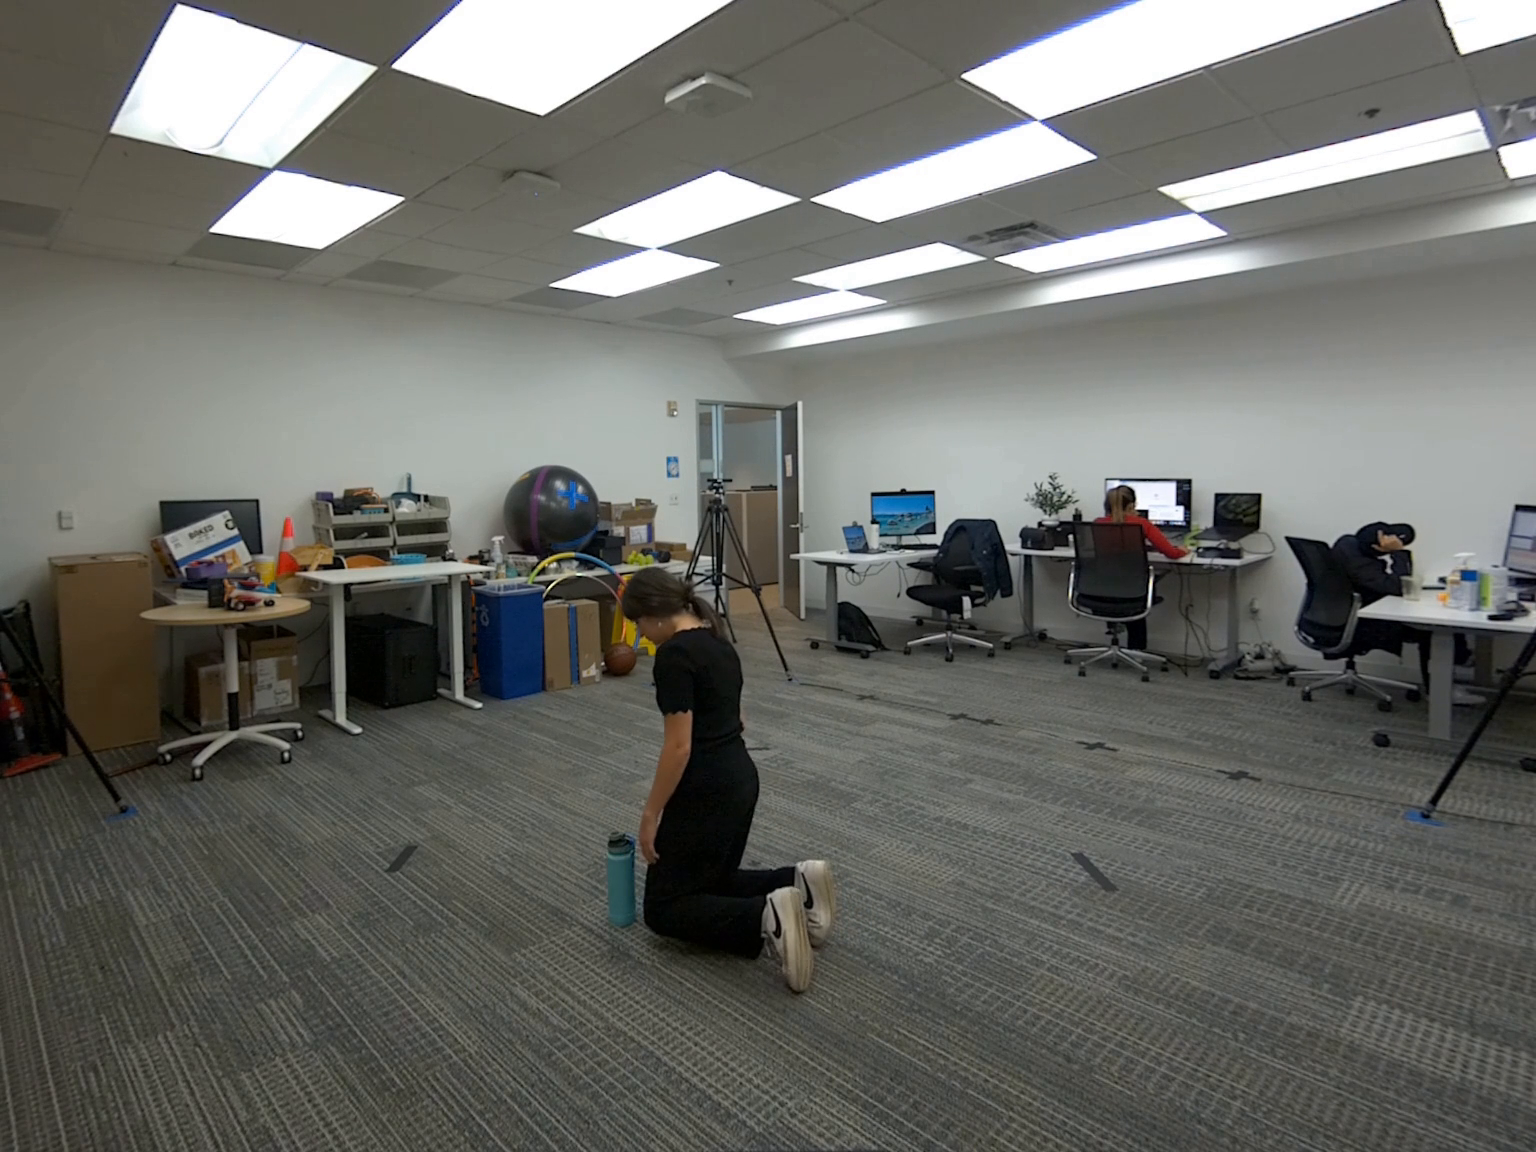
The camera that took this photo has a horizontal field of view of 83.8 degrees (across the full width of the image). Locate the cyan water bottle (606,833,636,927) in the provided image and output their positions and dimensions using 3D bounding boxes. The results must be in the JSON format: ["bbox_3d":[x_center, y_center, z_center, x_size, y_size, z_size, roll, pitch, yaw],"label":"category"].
[{"bbox_3d":[-0.459,0.960,2.717,0.092,0.282,0.093,-1,4,-2],"label":"cyan water bottle"}]
